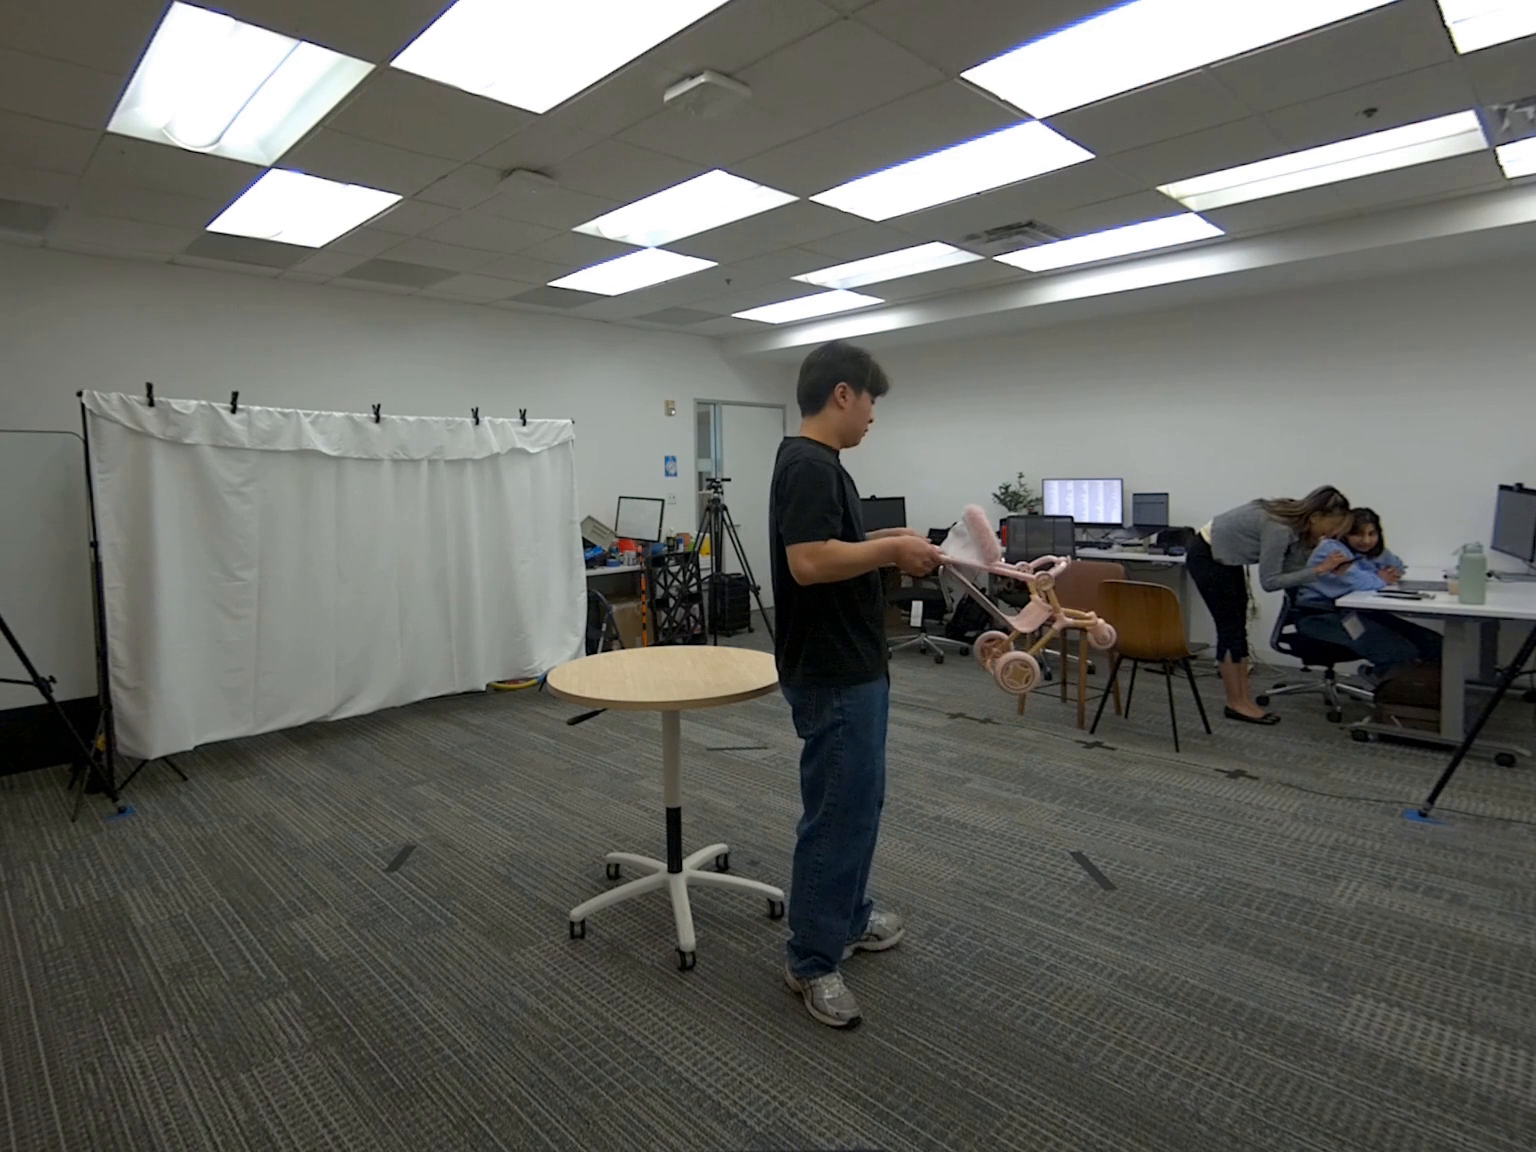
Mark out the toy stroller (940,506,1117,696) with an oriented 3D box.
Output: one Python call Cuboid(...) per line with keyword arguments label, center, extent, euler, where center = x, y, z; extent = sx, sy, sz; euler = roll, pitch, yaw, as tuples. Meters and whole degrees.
Cuboid(label="toy stroller", center=(0.619, 0.043, 2.210), extent=(0.342, 0.535, 0.280), euler=(-34, 0, 11))
